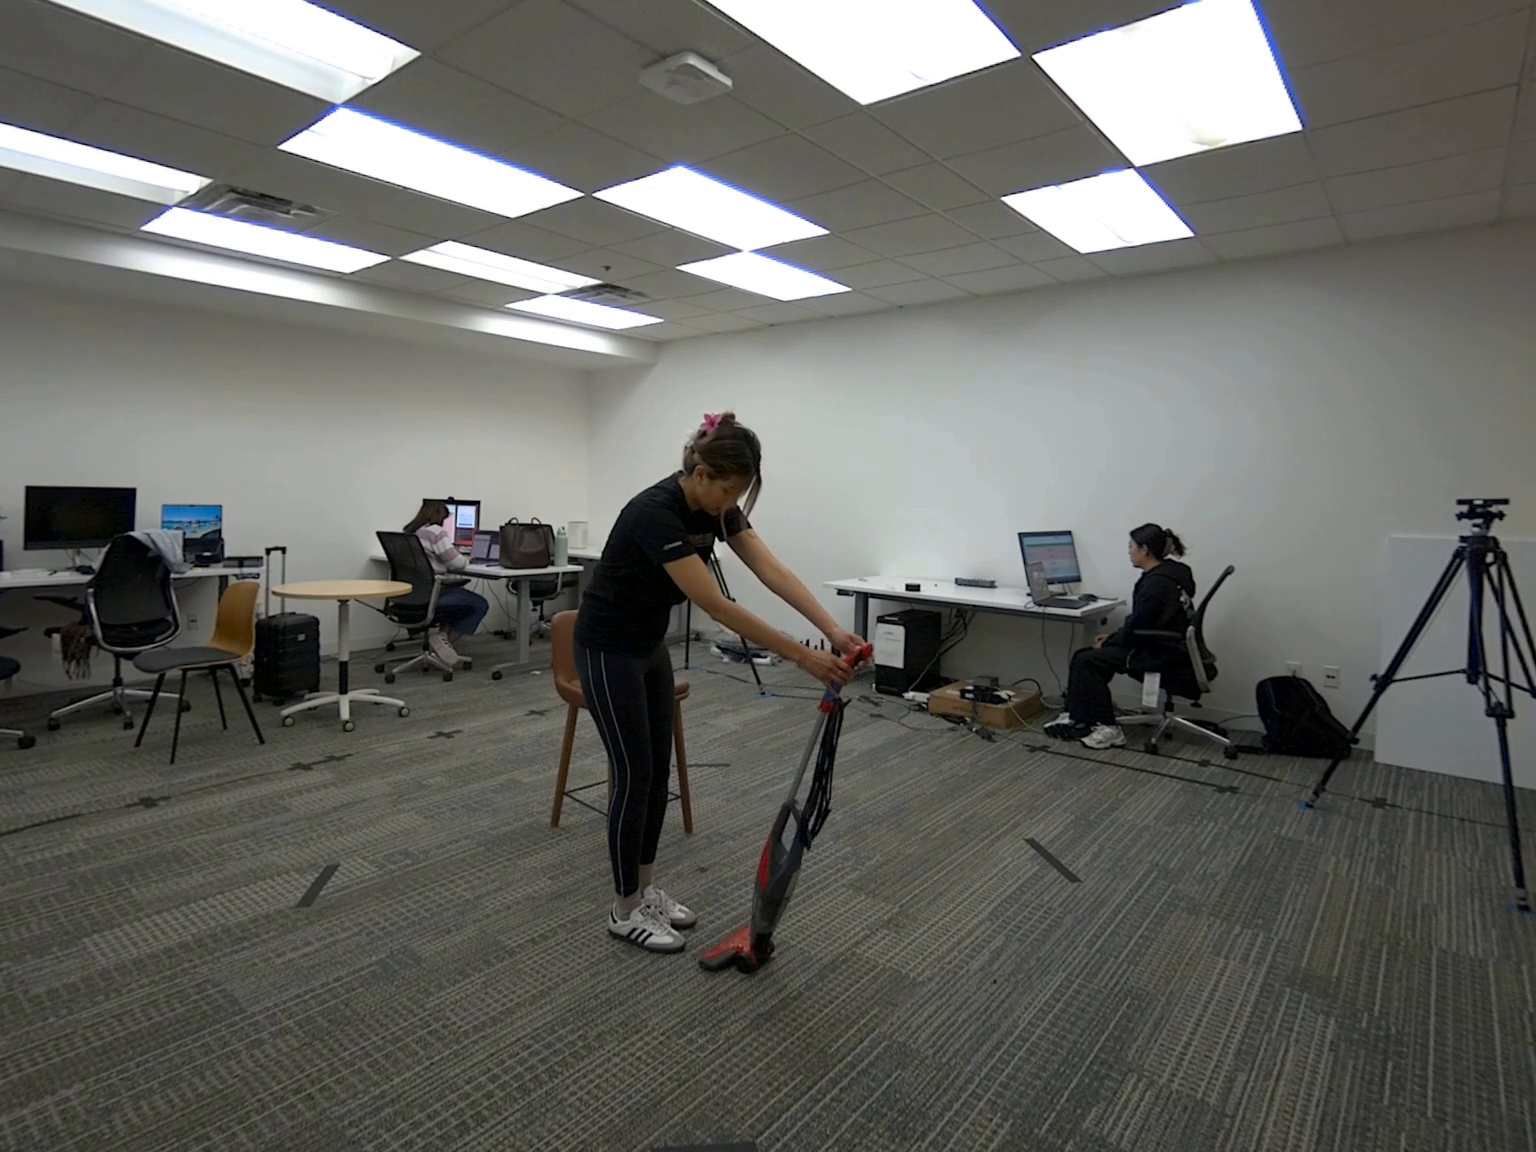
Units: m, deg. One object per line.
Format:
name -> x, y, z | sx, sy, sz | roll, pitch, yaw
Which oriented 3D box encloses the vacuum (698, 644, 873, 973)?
vacuum -> 0.088, 0.659, 2.376 | 0.149, 1.040, 0.245 | 30, 19, 31
